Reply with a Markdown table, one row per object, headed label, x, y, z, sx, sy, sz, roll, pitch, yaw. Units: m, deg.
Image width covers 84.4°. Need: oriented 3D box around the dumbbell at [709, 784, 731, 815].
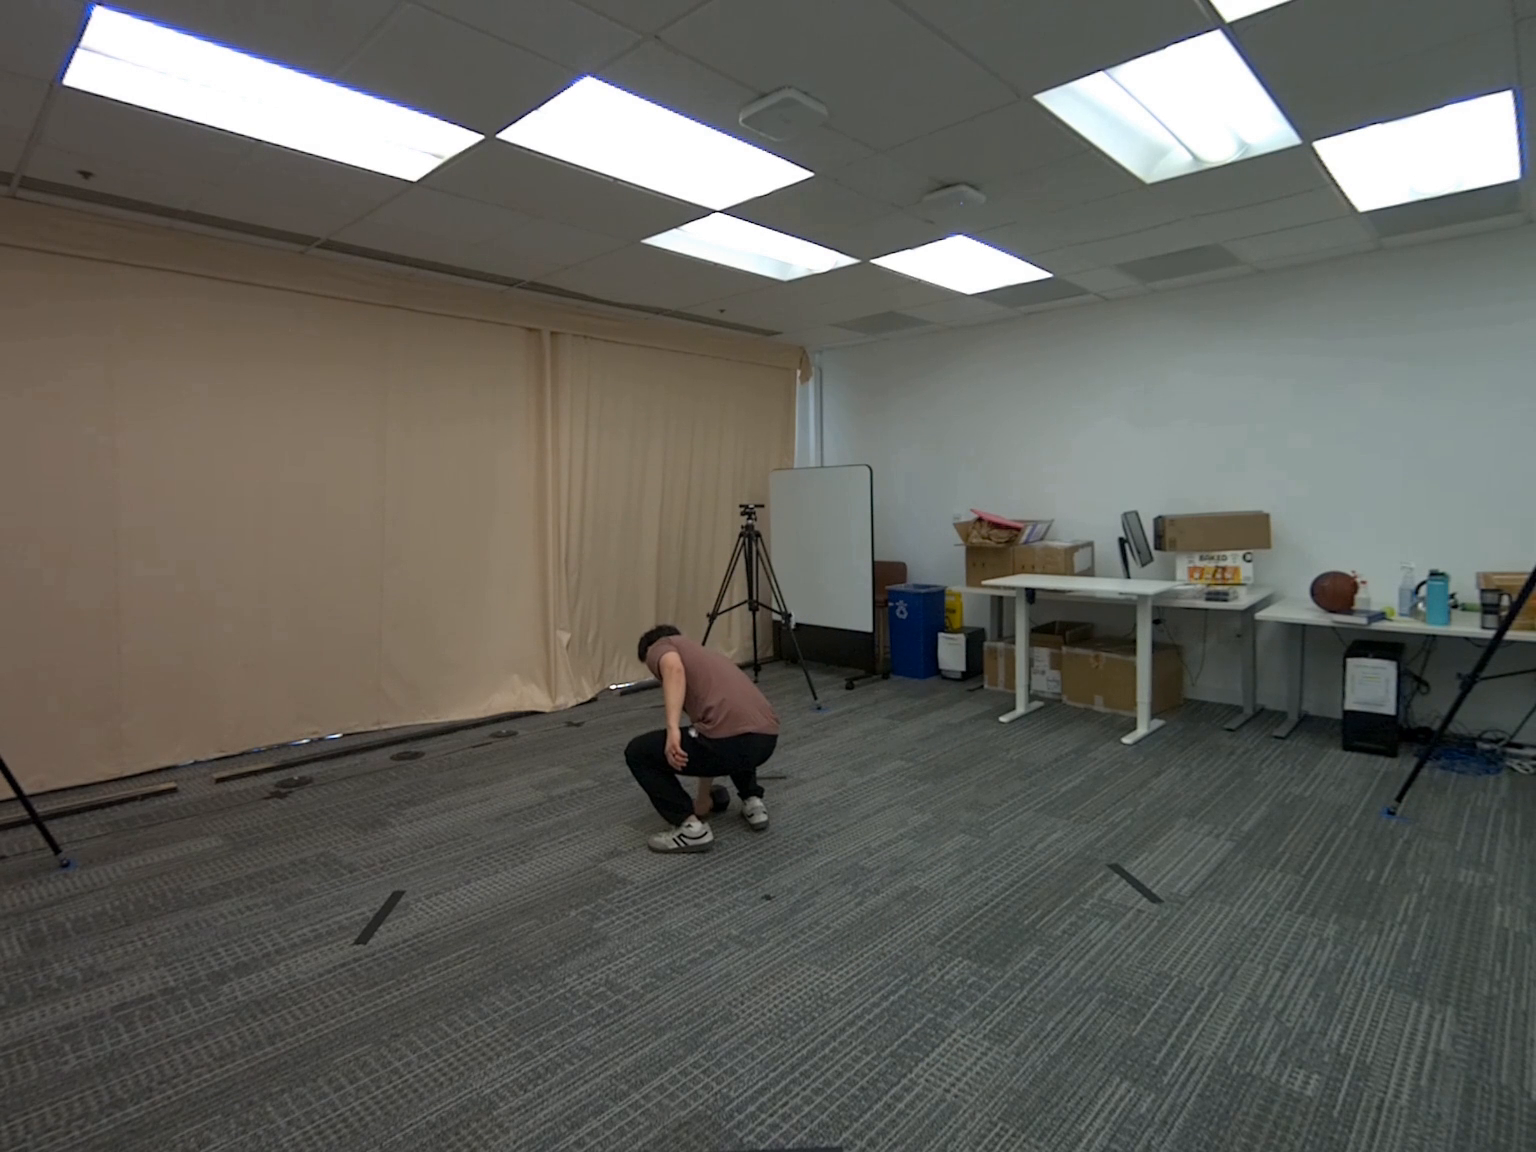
| label | x | y | z | sx | sy | sz | roll | pitch | yaw |
| --- | --- | --- | --- | --- | --- | --- | --- | --- | --- |
| dumbbell | -0.306 | 1.016 | 3.791 | 0.285 | 0.108 | 0.127 | -5 | 4 | -41 |
